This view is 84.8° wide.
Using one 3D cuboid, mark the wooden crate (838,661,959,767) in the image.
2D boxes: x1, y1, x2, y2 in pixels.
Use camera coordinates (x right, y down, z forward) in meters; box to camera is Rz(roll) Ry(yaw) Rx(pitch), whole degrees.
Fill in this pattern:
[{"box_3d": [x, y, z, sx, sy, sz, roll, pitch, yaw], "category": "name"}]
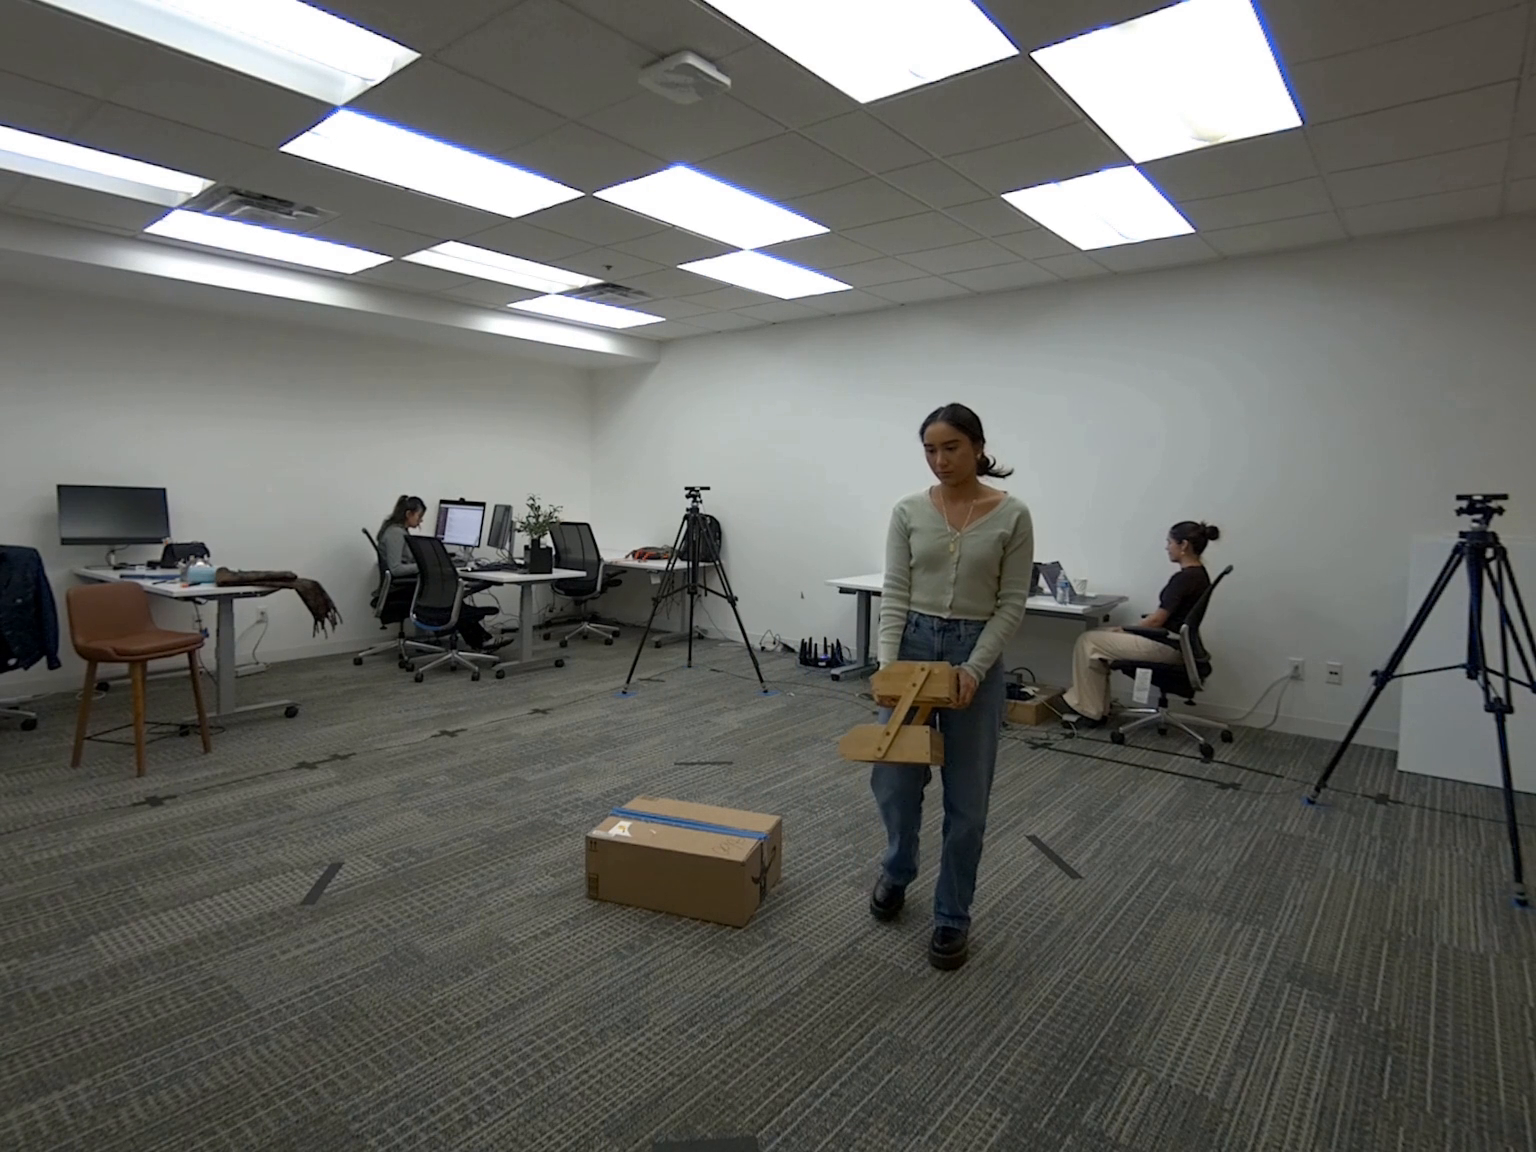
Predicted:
[{"box_3d": [0.356, 0.383, 2.400, 0.308, 0.277, 0.314, -2, -15, 19], "category": "wooden crate"}]
